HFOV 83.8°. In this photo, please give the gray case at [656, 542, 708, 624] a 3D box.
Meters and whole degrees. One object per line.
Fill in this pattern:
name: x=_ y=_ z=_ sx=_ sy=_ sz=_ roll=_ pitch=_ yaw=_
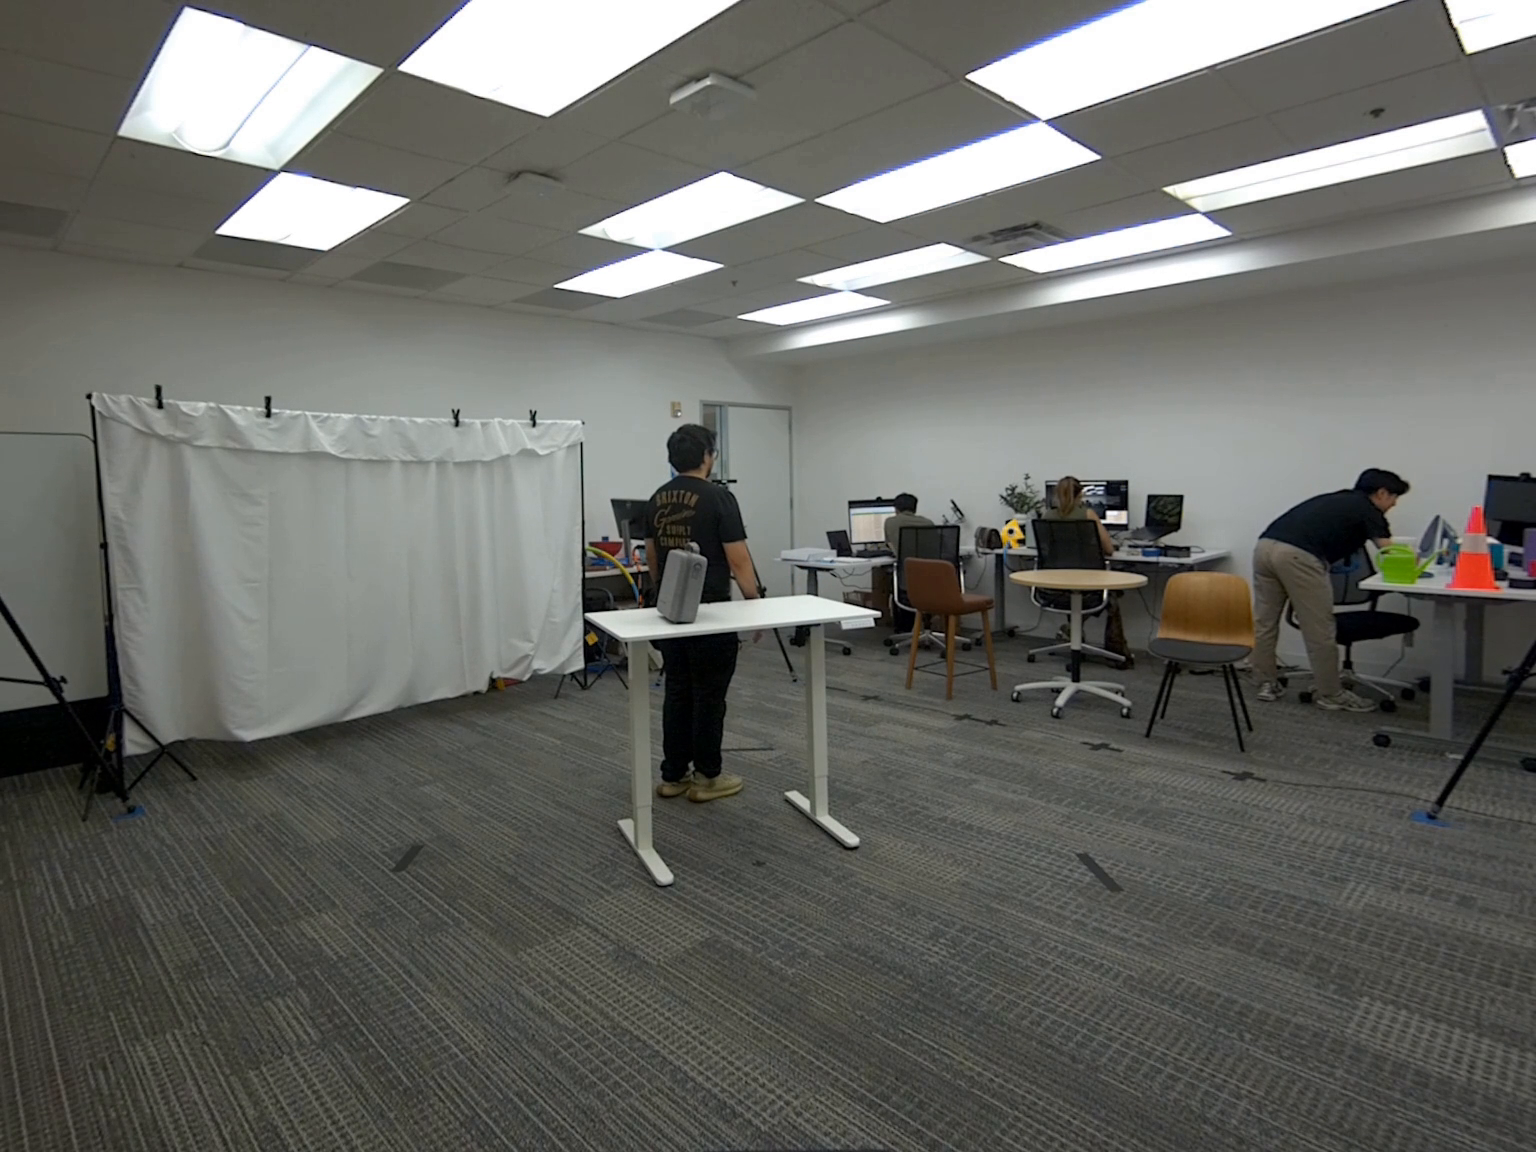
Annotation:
gray case: x=-0.330 y=0.032 z=3.184 sx=0.103 sy=0.260 sz=0.261 roll=5 pitch=2 yaw=-15
